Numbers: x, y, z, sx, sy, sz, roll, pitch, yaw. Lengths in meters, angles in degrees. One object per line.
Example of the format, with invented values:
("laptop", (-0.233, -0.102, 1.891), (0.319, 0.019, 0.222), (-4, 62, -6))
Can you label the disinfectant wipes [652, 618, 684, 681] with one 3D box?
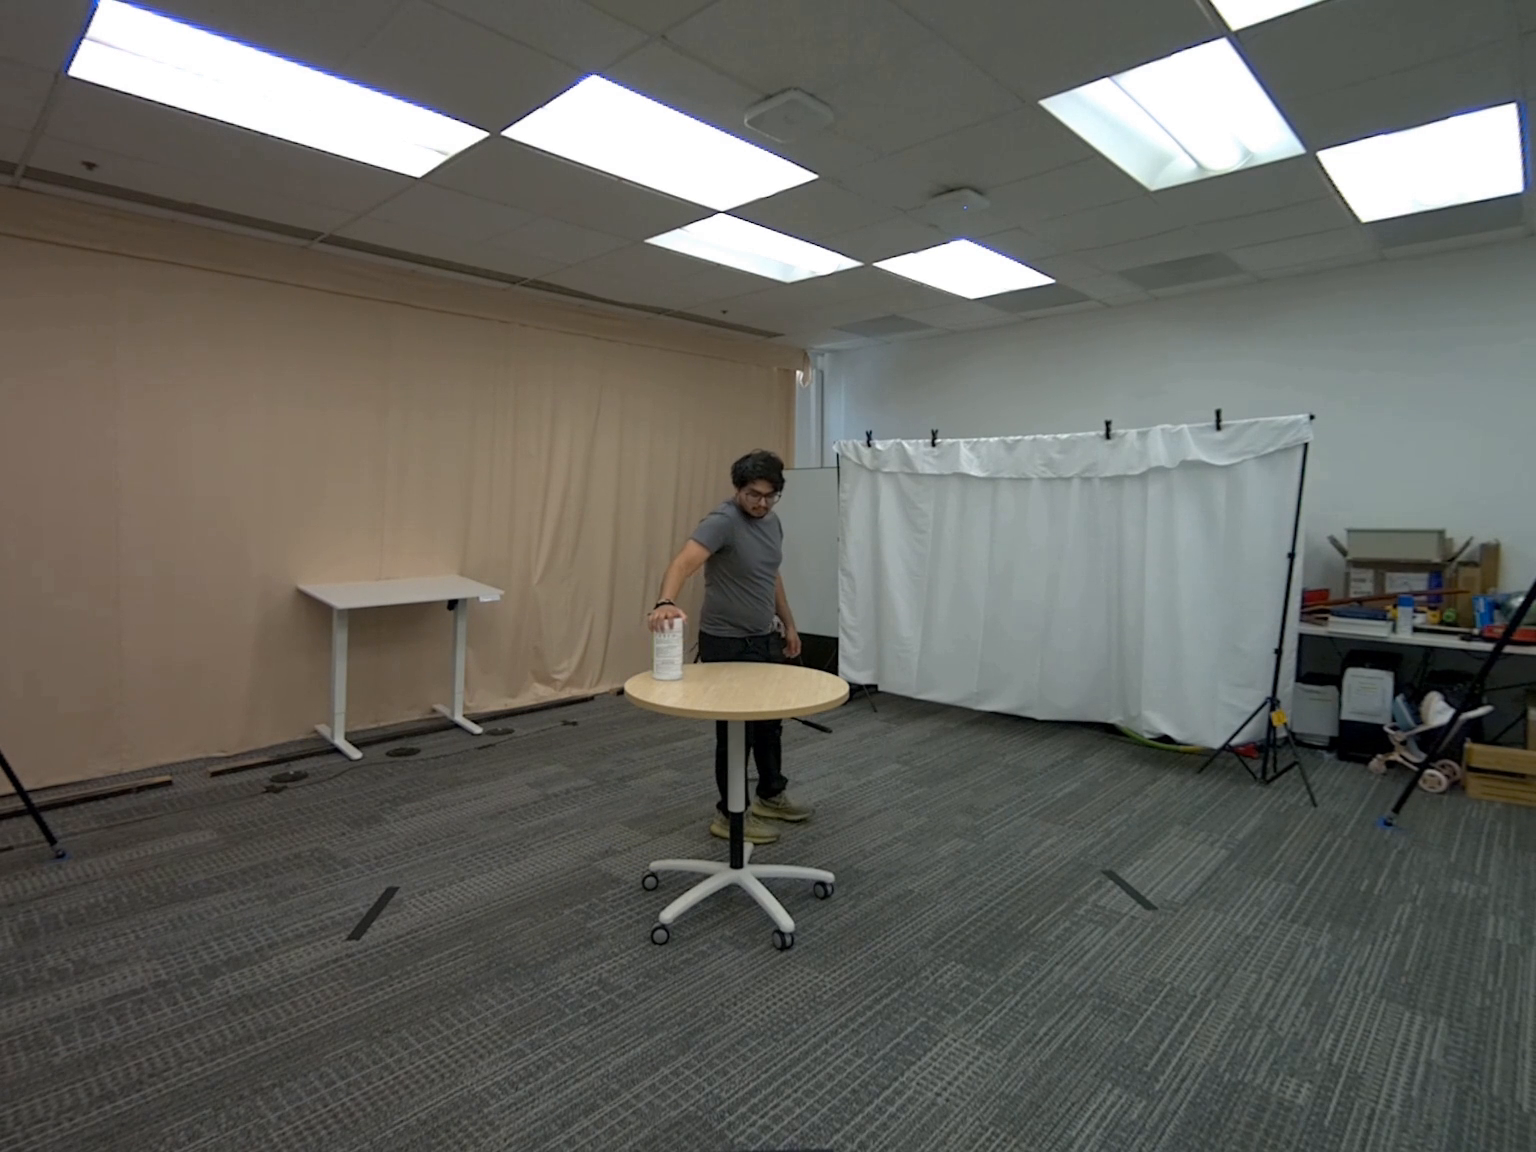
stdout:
("disinfectant wipes", (-0.342, 0.253, 2.977), (0.118, 0.217, 0.118), (1, 2, -2))
